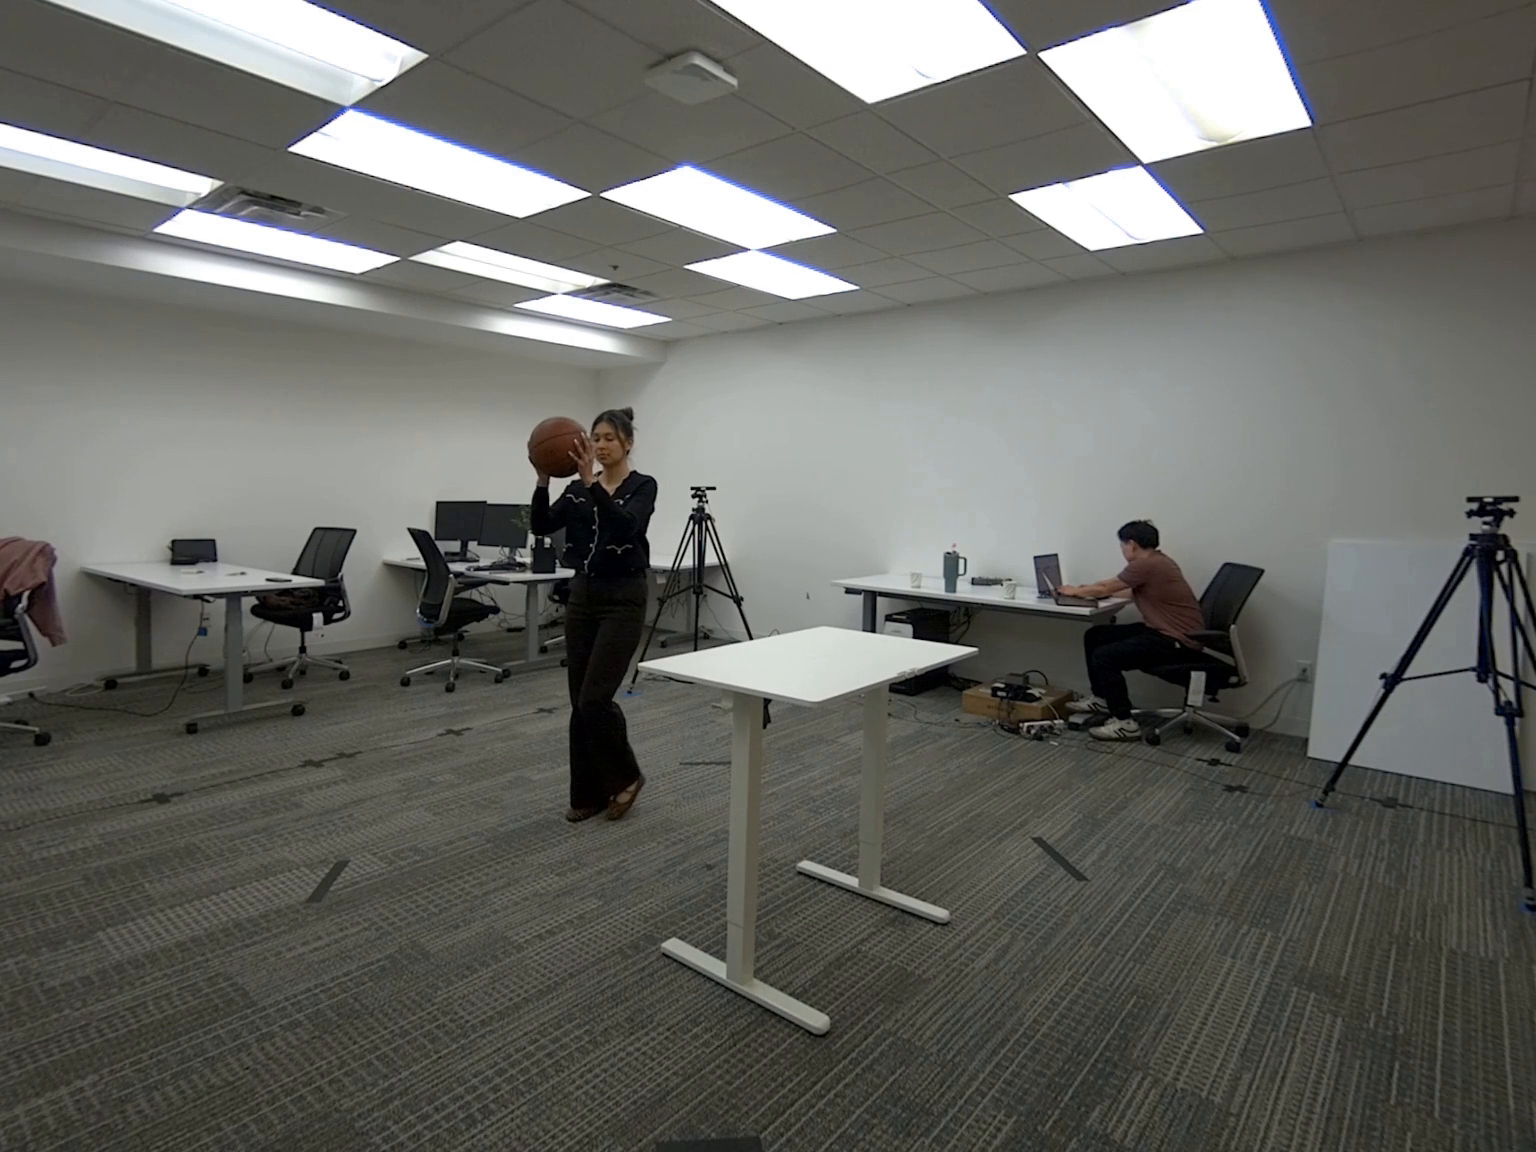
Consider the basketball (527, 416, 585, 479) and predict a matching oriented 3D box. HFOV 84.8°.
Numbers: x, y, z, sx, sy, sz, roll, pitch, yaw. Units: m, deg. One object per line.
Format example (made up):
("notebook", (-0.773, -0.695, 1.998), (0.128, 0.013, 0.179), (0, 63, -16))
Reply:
("basketball", (-0.809, -0.501, 3.281), (0.235, 0.235, 0.237), (1, 4, -2))
